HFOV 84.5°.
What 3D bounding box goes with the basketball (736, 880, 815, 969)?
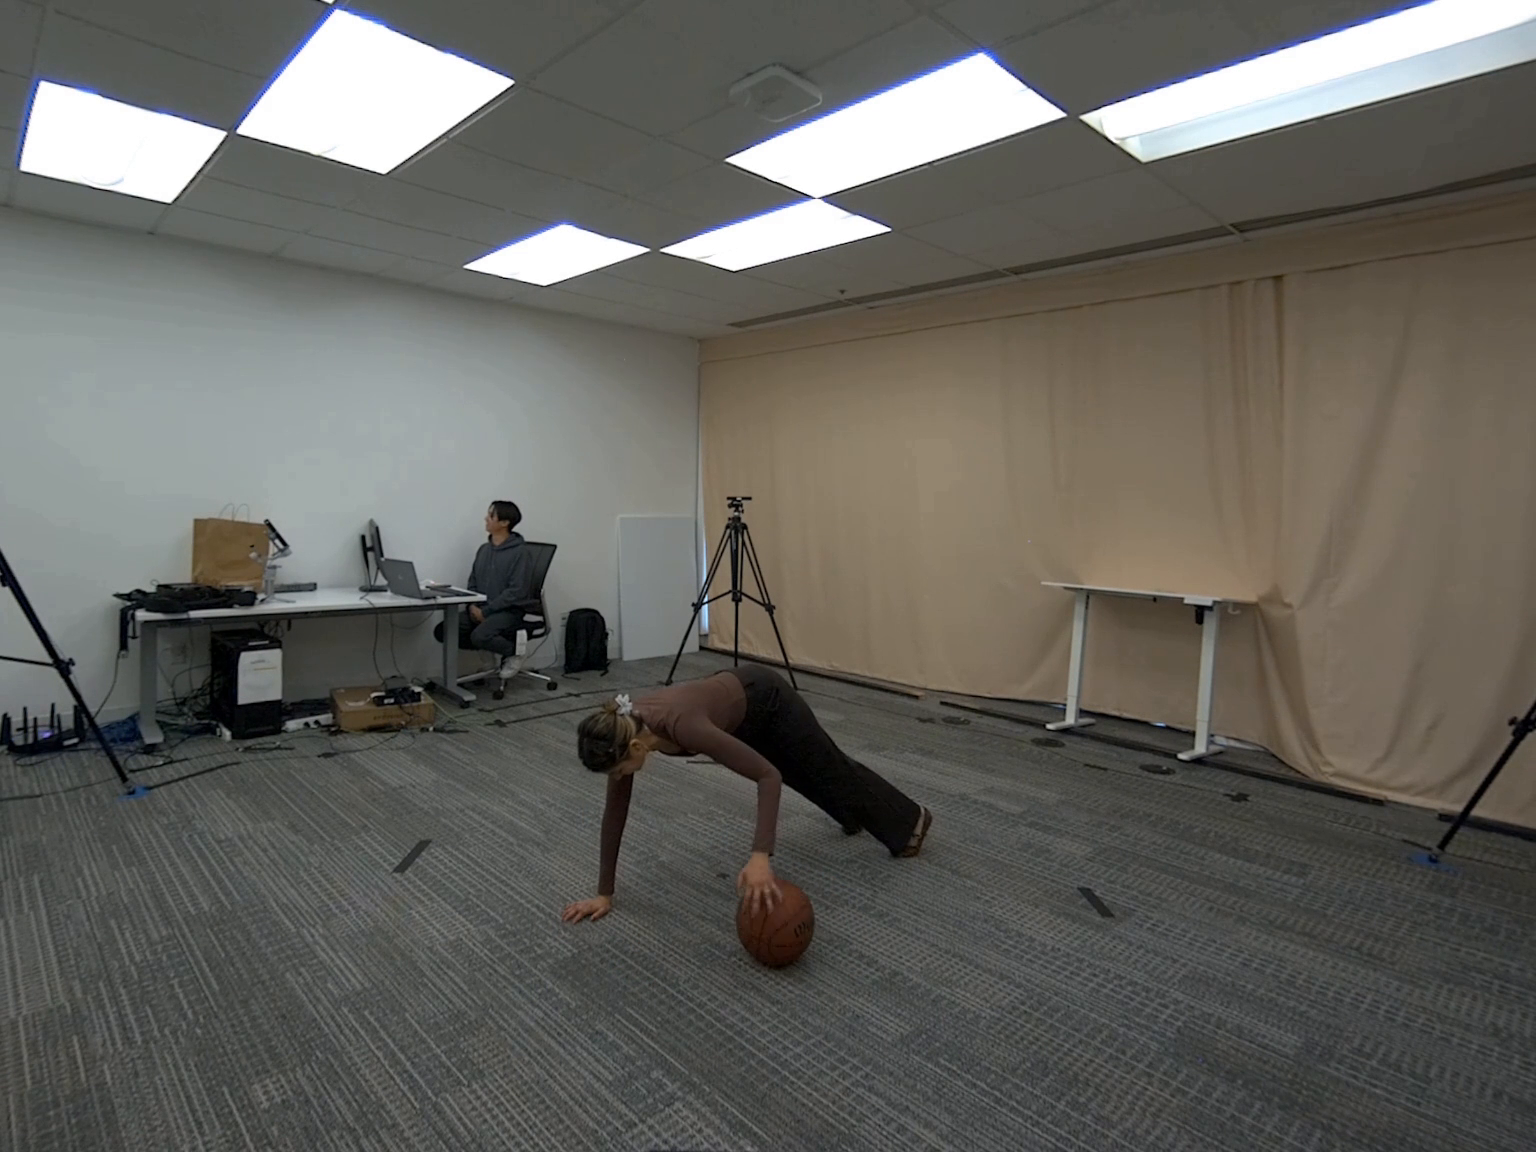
[{"bbox_3d":[0.011,1.042,2.541,0.236,0.235,0.237,1,4,-1],"label":"basketball"}]
